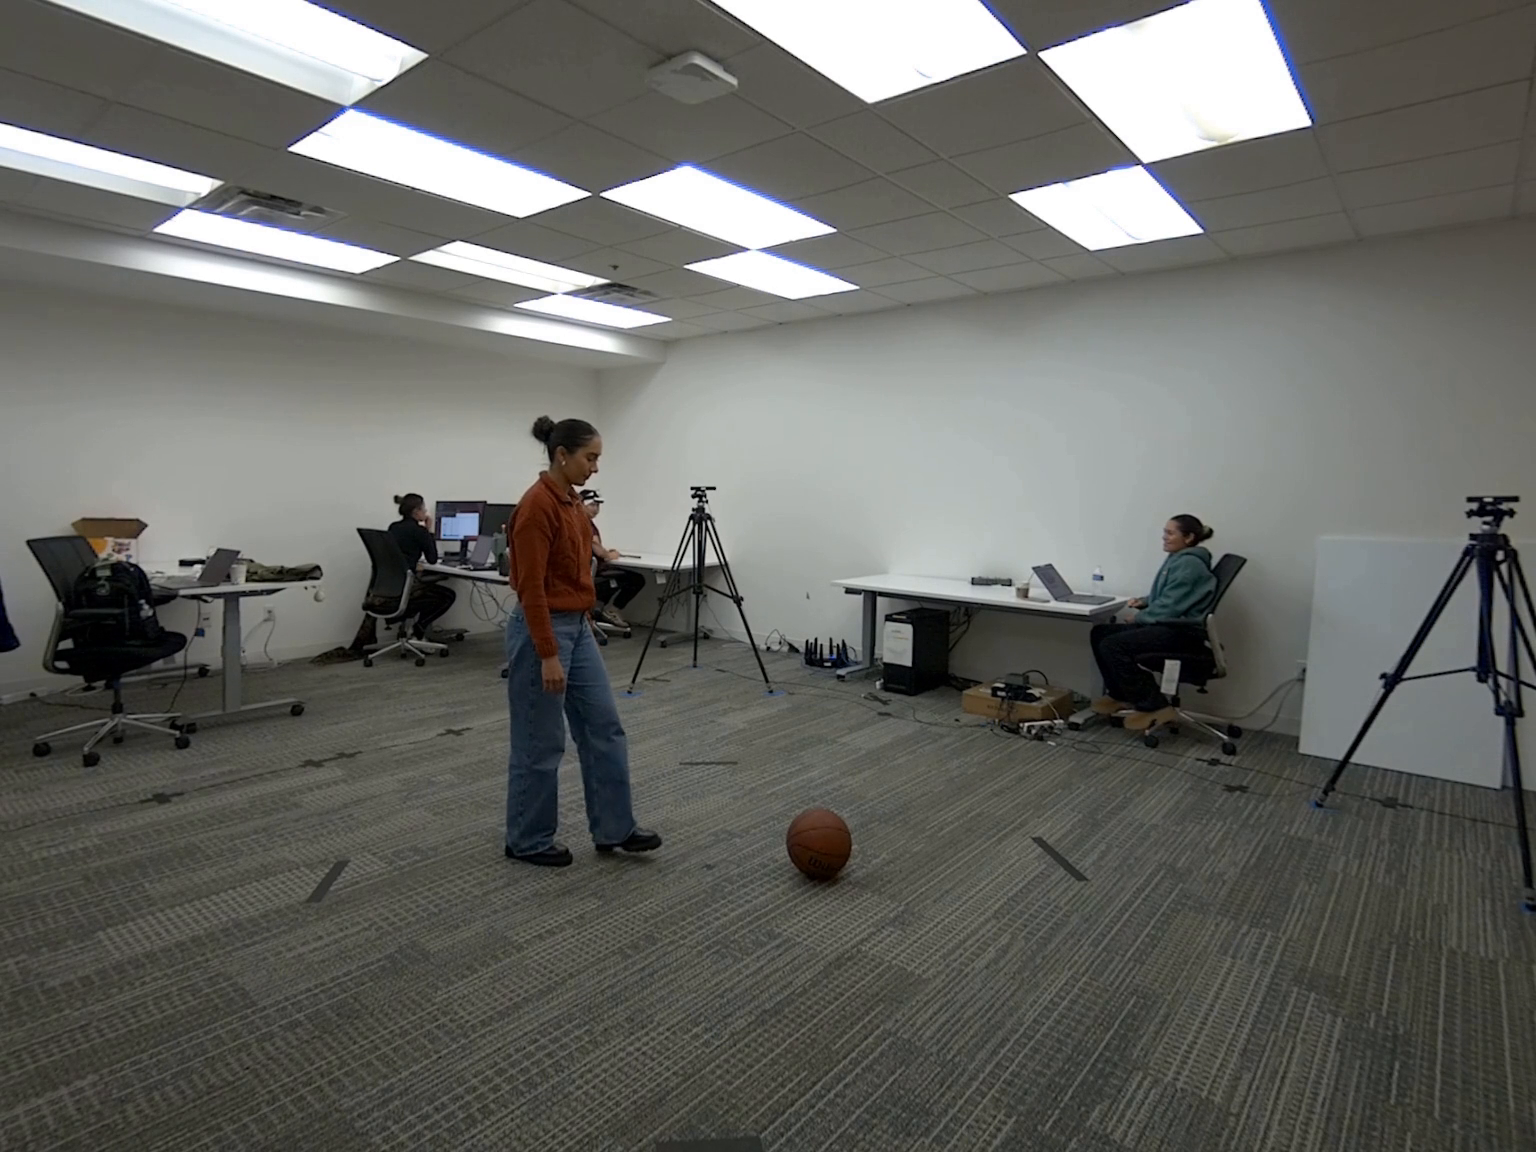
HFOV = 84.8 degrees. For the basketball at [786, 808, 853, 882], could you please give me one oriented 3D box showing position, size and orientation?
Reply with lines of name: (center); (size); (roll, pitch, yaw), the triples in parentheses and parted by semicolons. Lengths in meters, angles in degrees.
basketball: (0.171, 0.953, 3.071); (0.236, 0.235, 0.237); (1, 4, -2)
